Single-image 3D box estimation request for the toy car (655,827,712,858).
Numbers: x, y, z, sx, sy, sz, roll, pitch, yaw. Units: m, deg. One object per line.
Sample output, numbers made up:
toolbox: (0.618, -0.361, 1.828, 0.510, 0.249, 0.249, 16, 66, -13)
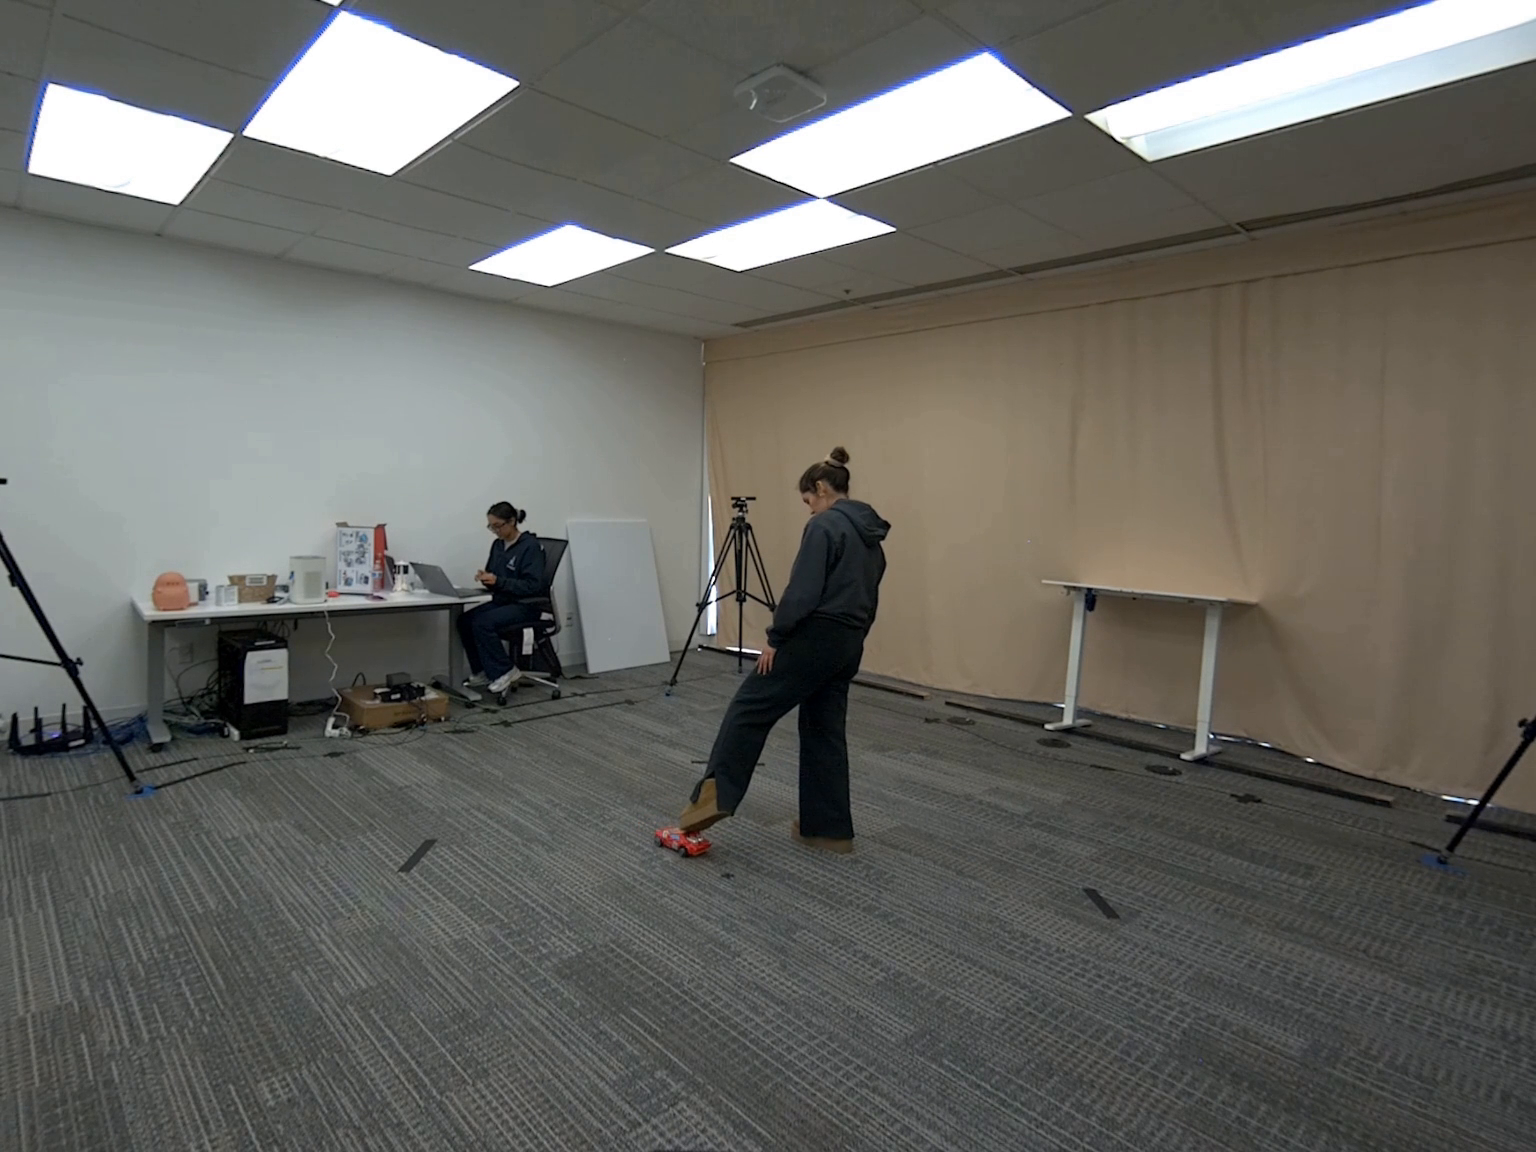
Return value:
toy car: (-0.342, 1.050, 3.331, 0.260, 0.083, 0.127, -8, -3, 42)
